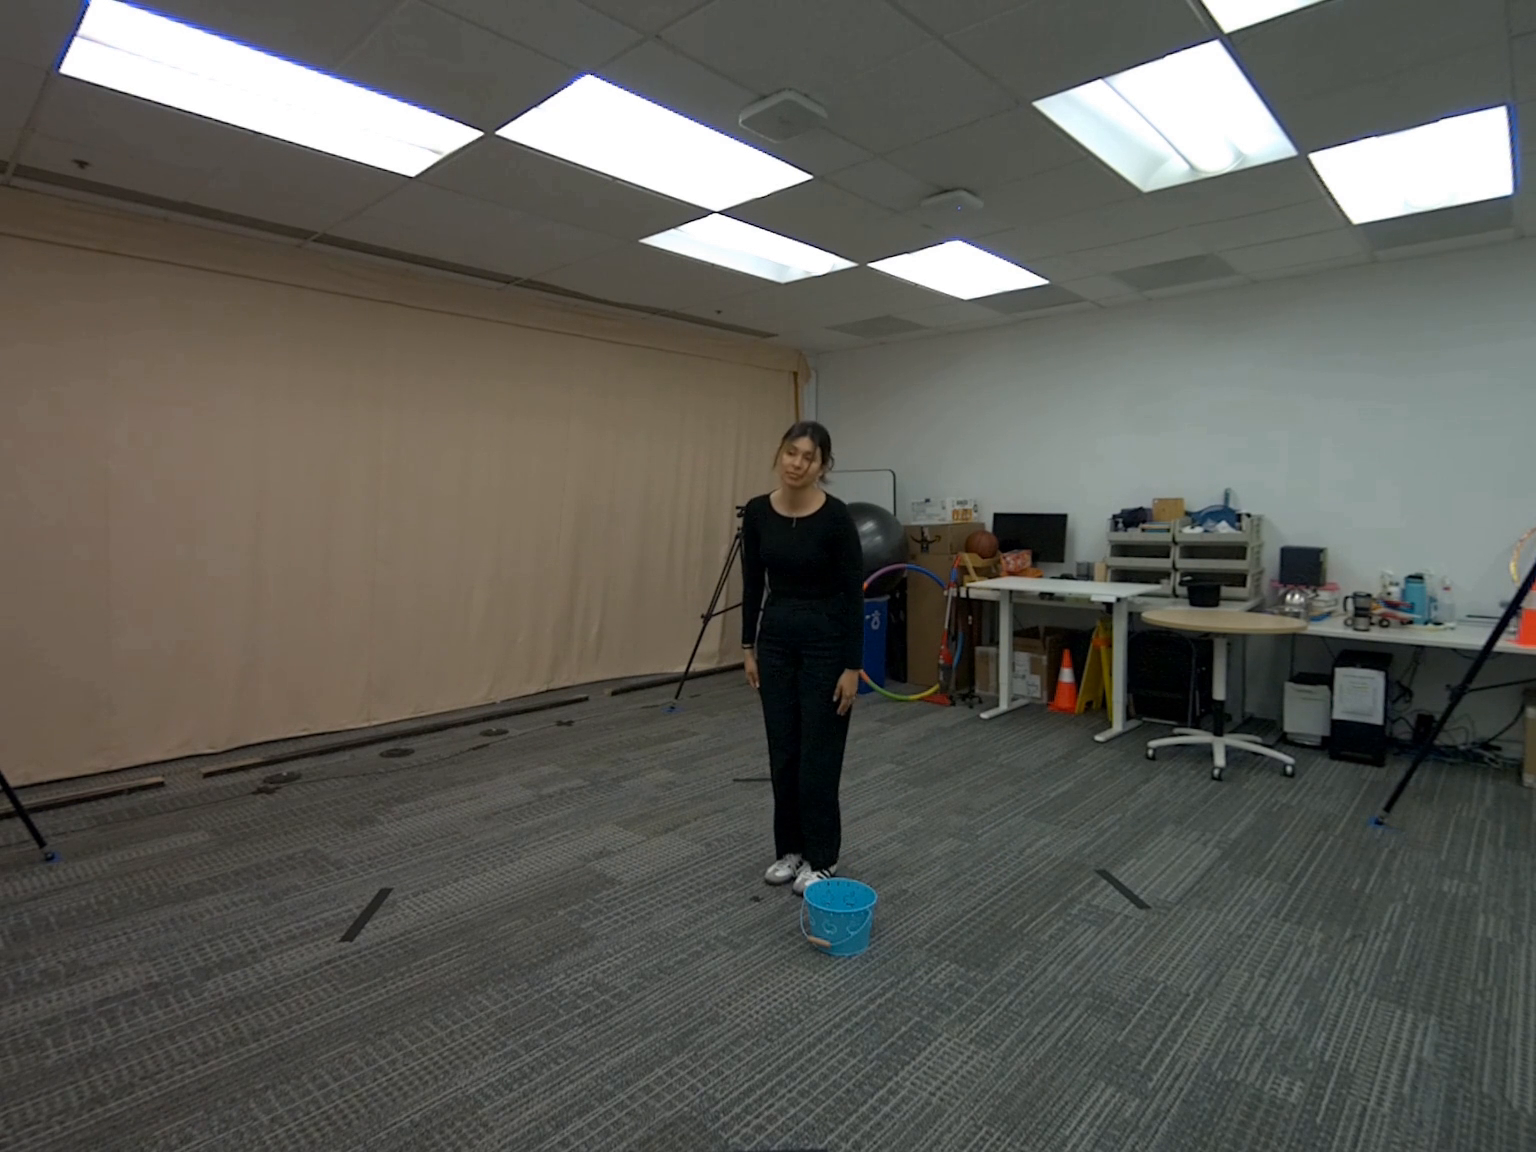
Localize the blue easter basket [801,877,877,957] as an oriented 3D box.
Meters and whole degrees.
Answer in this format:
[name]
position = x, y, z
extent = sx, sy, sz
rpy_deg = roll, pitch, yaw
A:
[blue easter basket]
position = 0.226, 1.080, 2.695
extent = 0.243, 0.155, 0.244
rpy_deg = 0, 4, -2
